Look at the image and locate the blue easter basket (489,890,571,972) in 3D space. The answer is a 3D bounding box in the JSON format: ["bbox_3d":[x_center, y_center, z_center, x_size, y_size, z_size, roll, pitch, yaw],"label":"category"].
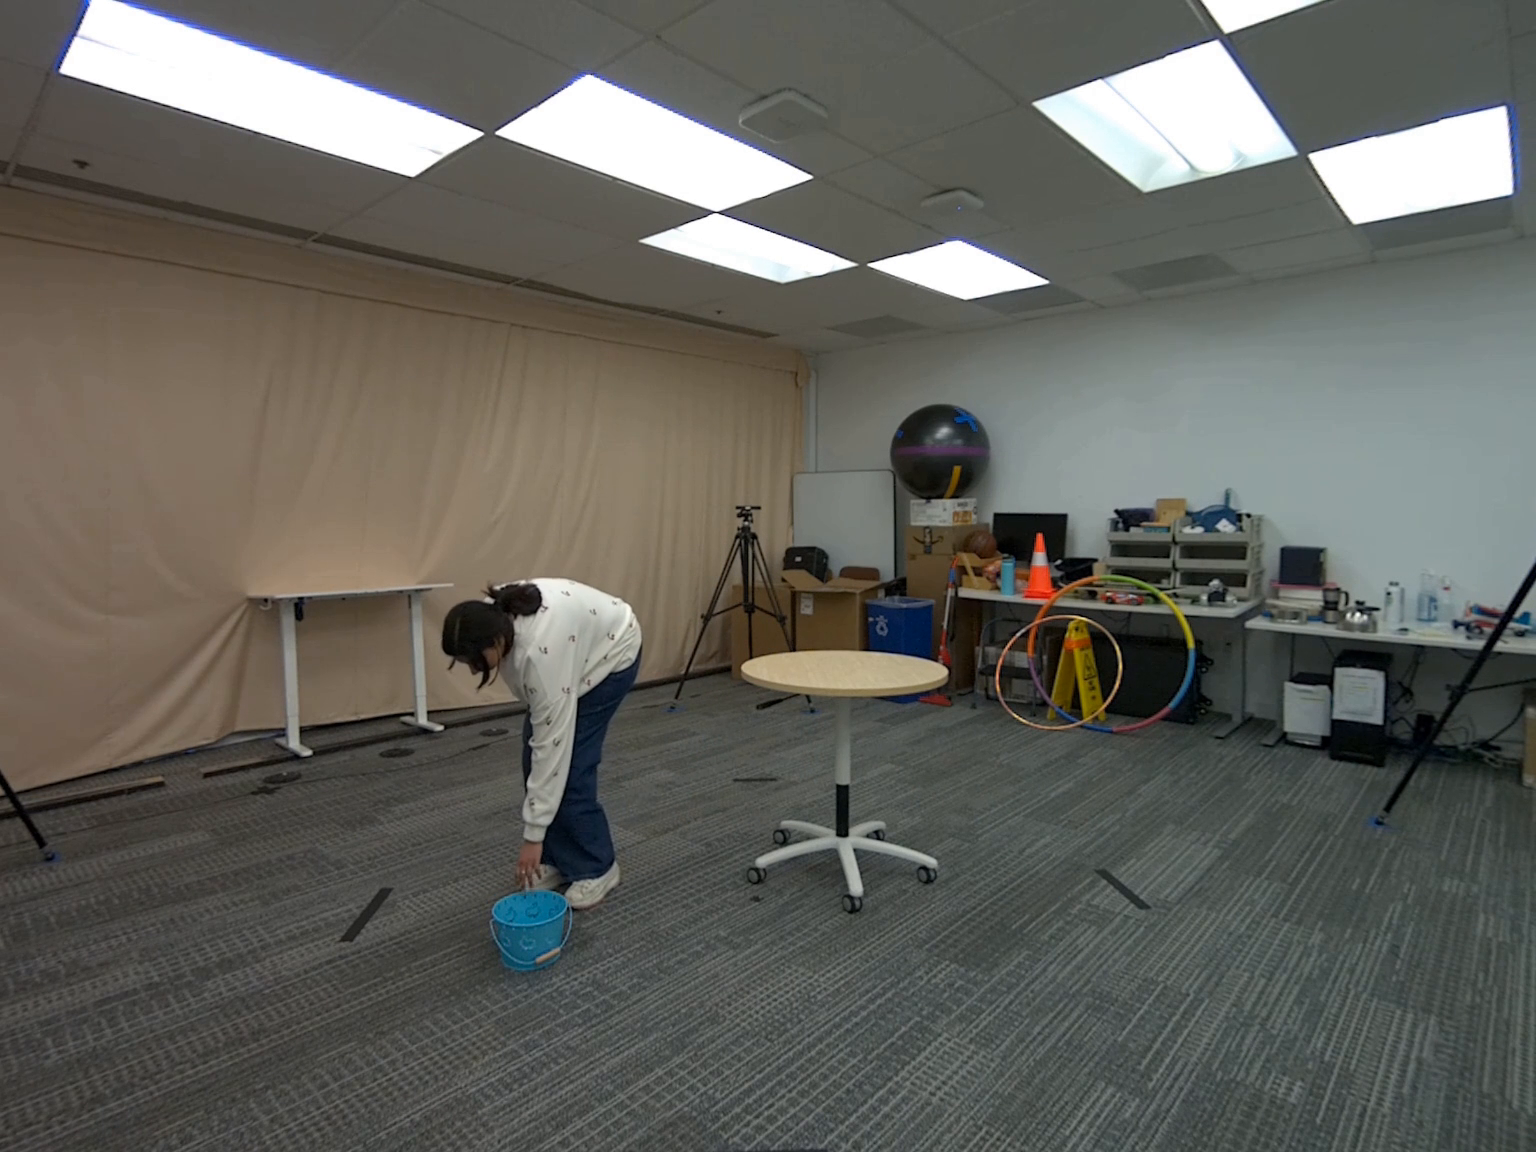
[{"bbox_3d":[-0.740,1.102,2.616,0.243,0.155,0.244,1,3,-2],"label":"blue easter basket"}]
